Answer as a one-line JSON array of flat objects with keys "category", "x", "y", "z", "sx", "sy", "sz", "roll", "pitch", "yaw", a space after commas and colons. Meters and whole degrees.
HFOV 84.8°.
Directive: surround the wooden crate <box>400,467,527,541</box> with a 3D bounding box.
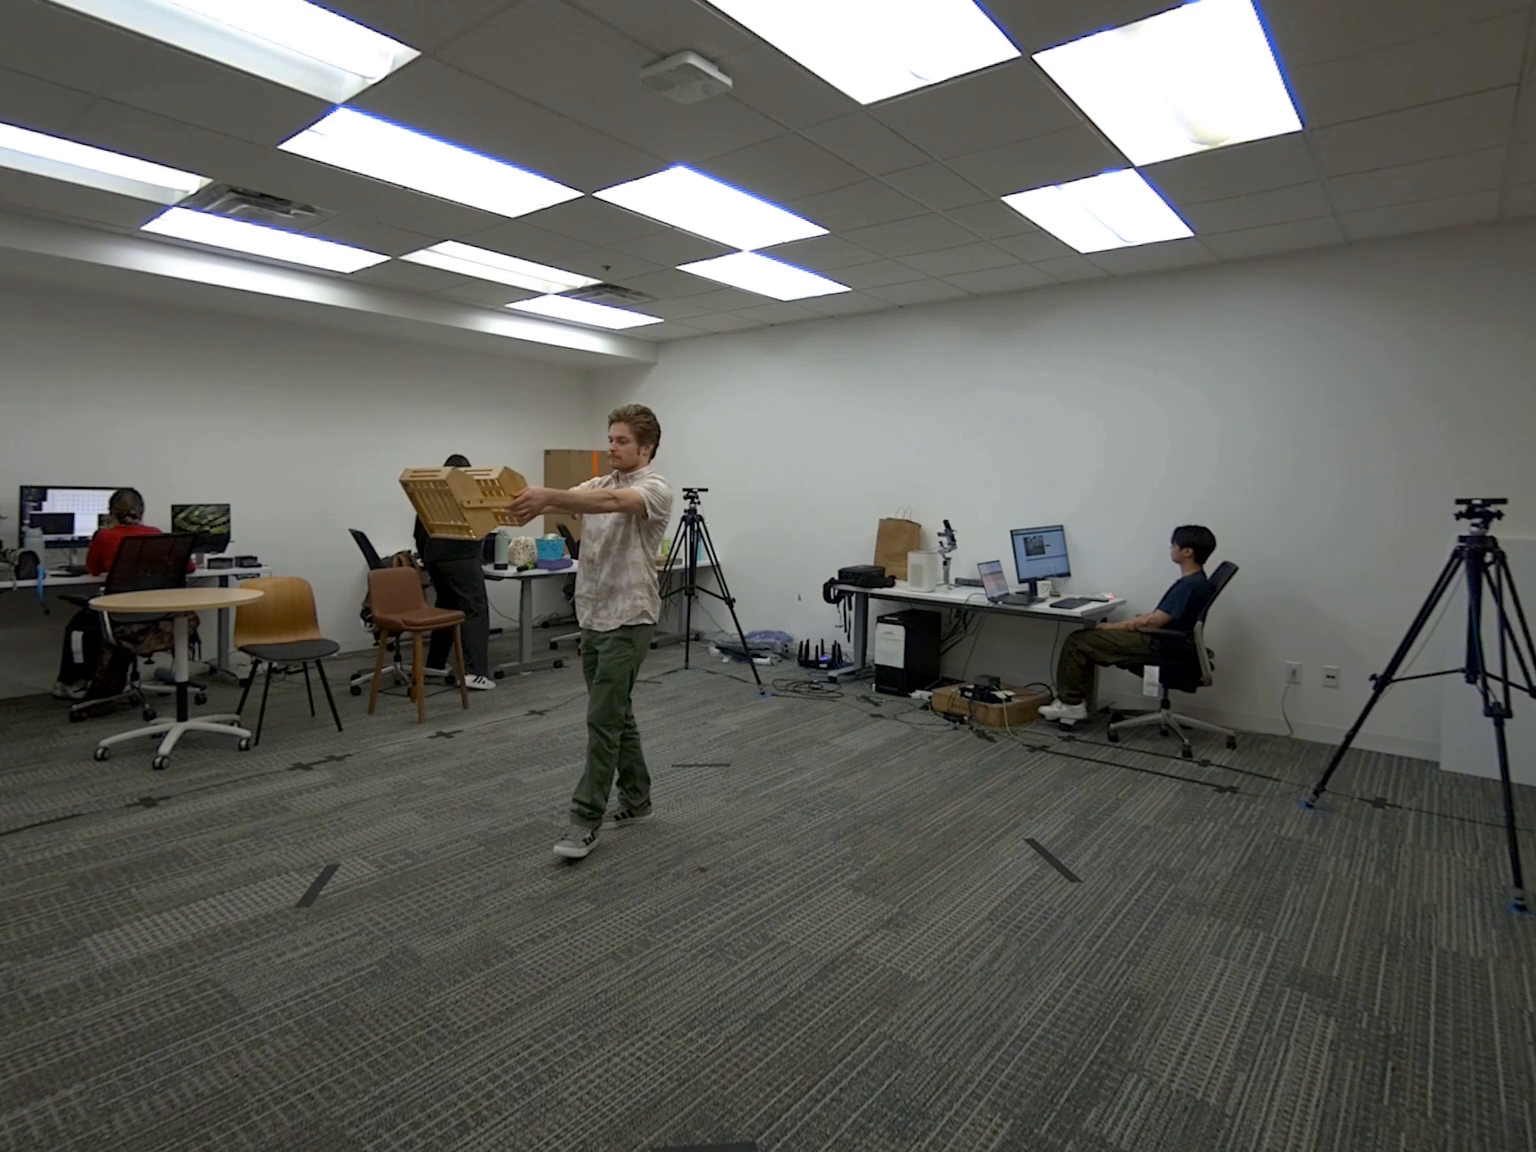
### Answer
[{"category": "wooden crate", "x": -1.031, "y": -0.284, "z": 2.904, "sx": 0.335, "sy": 0.293, "sz": 0.272, "roll": 5, "pitch": 37, "yaw": 40}]
